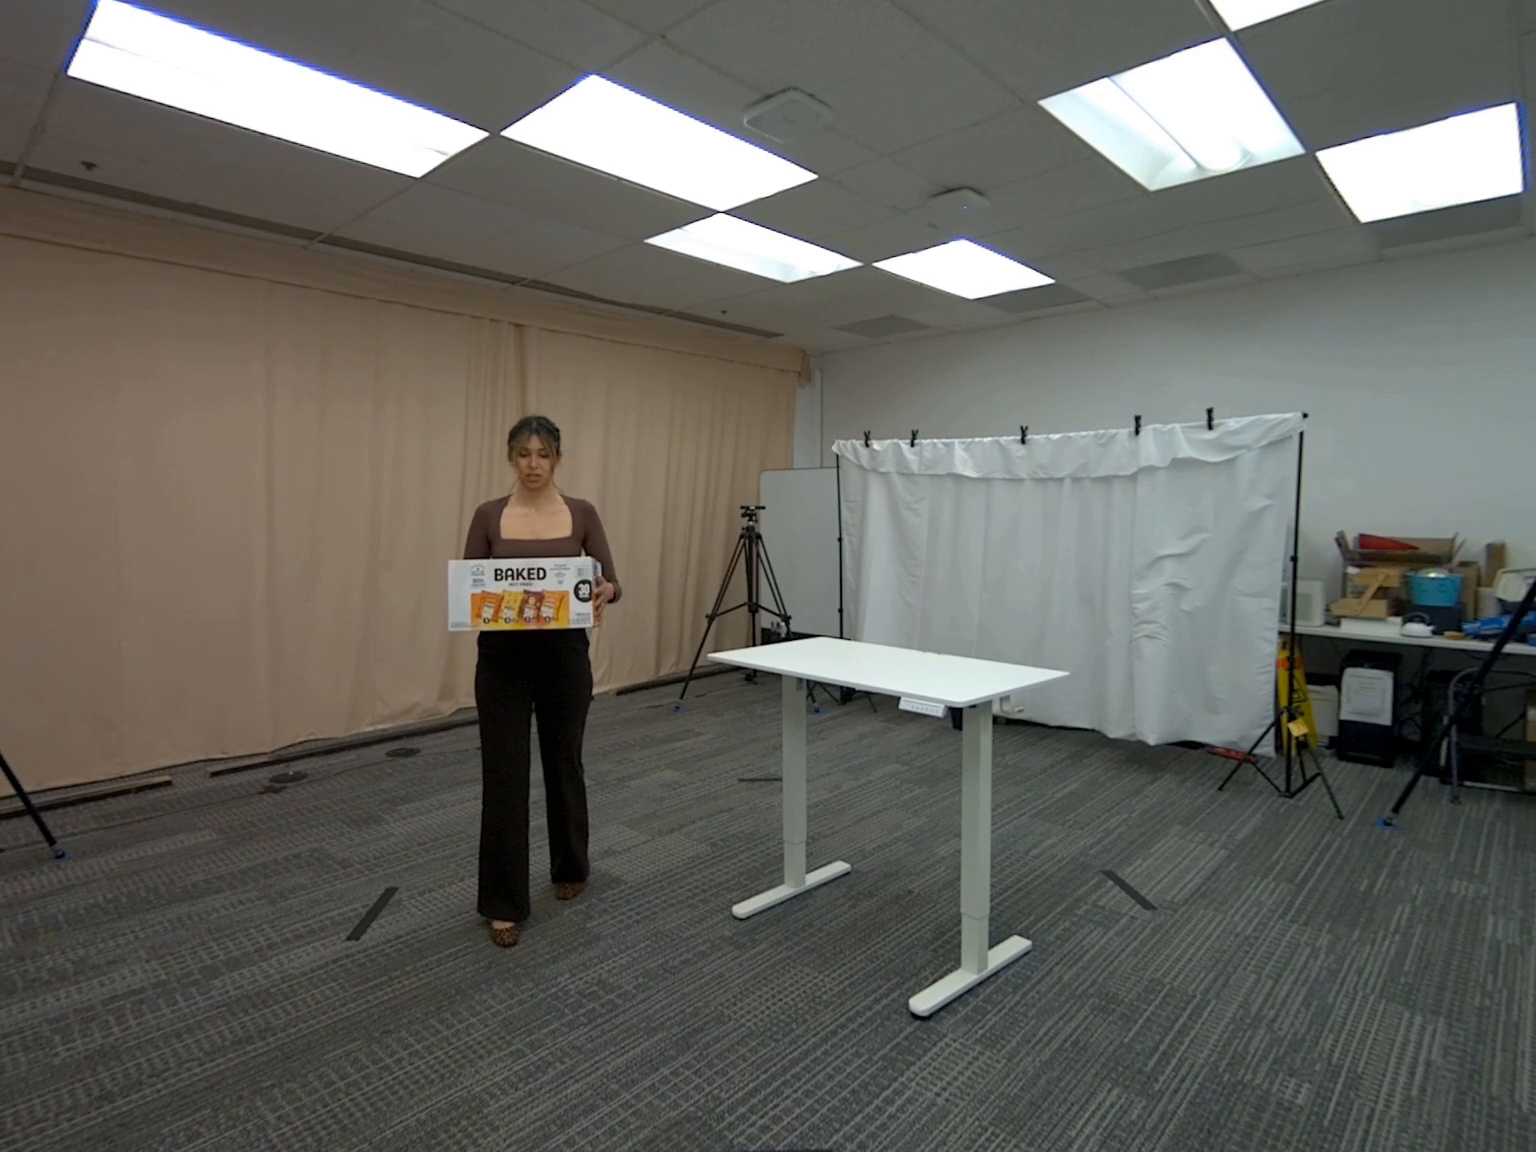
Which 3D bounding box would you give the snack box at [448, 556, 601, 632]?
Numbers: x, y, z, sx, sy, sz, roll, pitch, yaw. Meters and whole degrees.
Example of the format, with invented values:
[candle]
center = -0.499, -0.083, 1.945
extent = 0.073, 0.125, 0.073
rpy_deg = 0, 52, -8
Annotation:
[snack box]
center = -0.715, 0.058, 2.553
extent = 0.403, 0.206, 0.341
rpy_deg = -2, -3, -5
